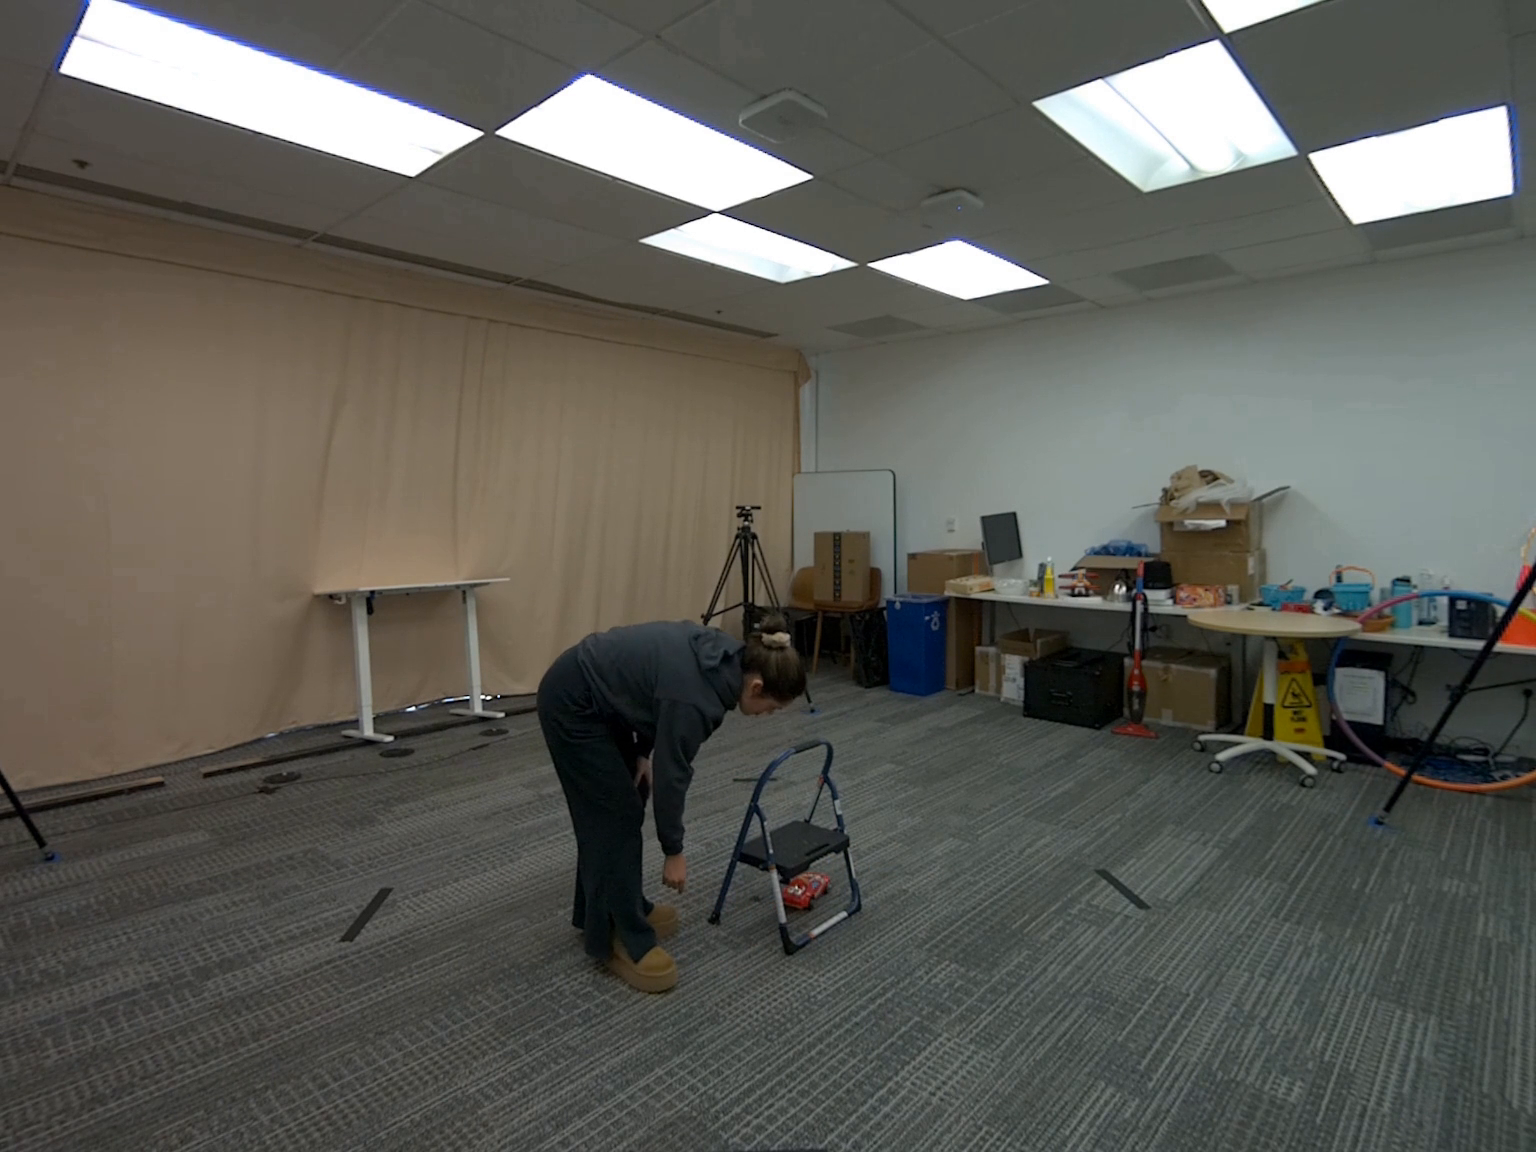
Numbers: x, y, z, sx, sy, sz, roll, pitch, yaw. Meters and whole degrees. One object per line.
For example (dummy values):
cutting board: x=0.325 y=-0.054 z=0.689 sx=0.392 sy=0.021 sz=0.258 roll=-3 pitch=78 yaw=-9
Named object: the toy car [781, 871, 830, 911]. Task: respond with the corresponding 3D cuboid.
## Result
toy car: x=0.145 y=1.110 z=2.963 sx=0.134 sy=0.083 sz=0.246 roll=2 pitch=-5 yaw=30
